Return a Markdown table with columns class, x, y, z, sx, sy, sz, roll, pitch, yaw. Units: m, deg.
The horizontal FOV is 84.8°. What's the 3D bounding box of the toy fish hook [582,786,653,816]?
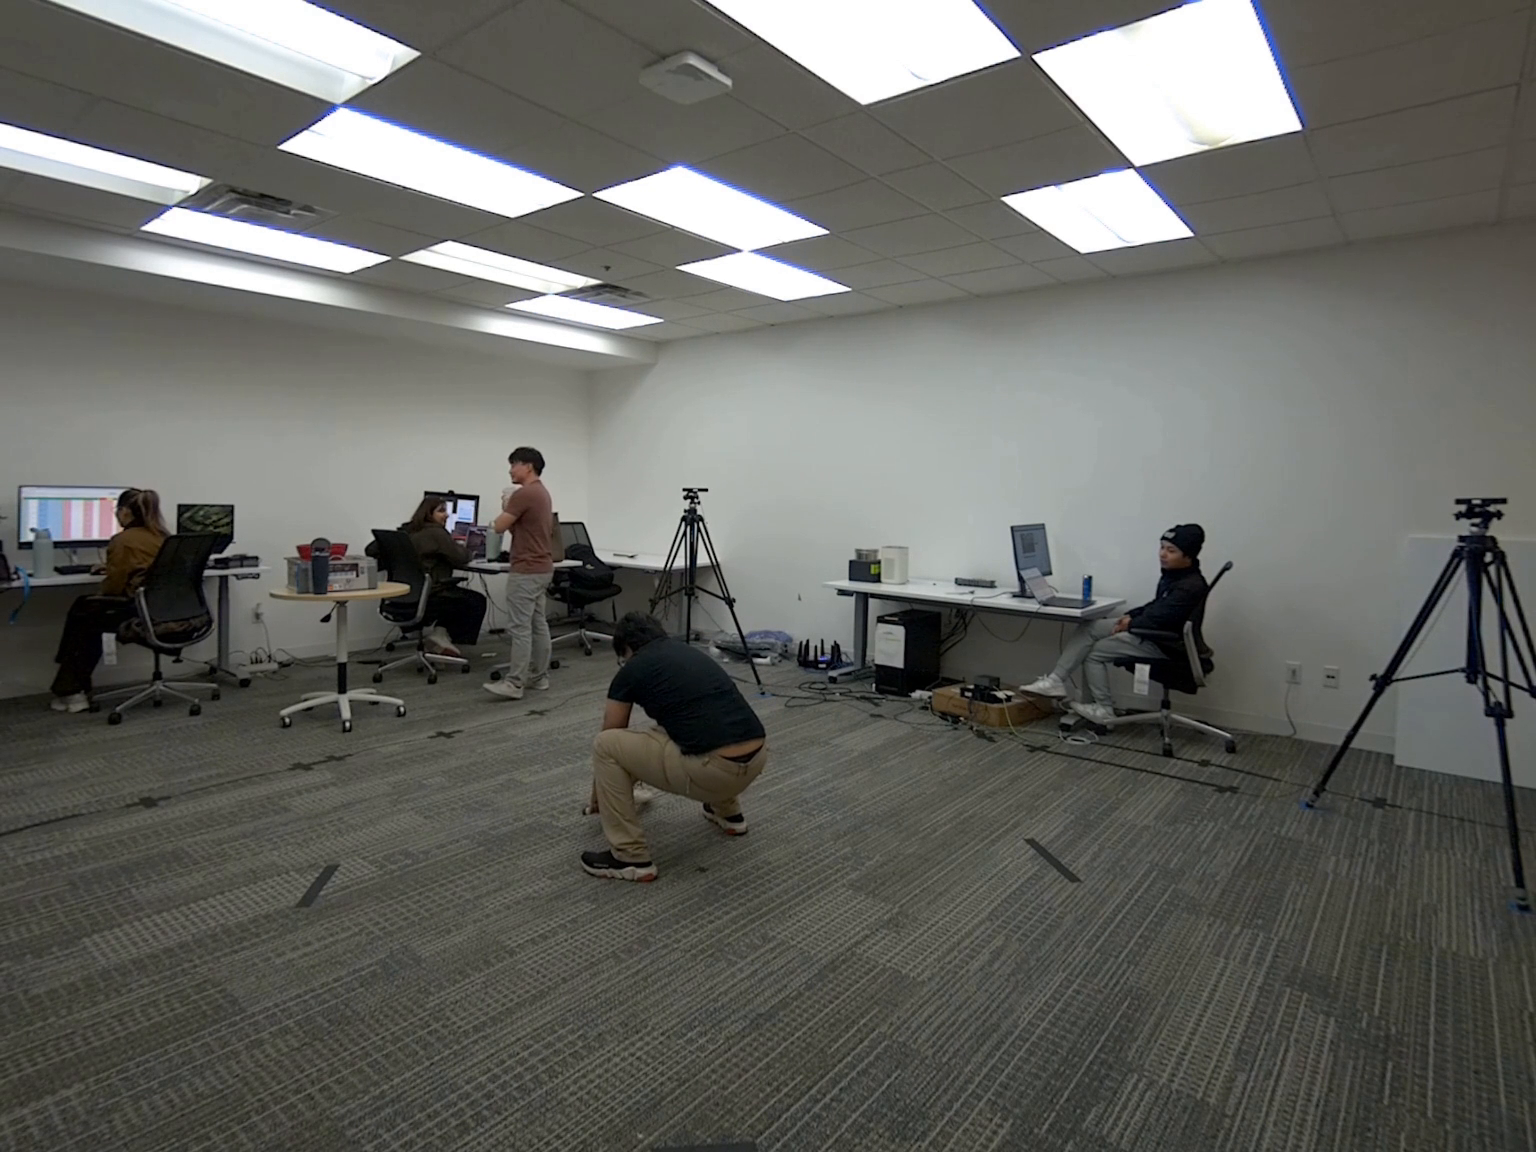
| class | x | y | z | sx | sy | sz | roll | pitch | yaw |
| --- | --- | --- | --- | --- | --- | --- | --- | --- | --- |
| toy fish hook | -0.693 | 0.956 | 3.620 | 0.229 | 0.049 | 0.491 | -6 | -8 | 23 |
